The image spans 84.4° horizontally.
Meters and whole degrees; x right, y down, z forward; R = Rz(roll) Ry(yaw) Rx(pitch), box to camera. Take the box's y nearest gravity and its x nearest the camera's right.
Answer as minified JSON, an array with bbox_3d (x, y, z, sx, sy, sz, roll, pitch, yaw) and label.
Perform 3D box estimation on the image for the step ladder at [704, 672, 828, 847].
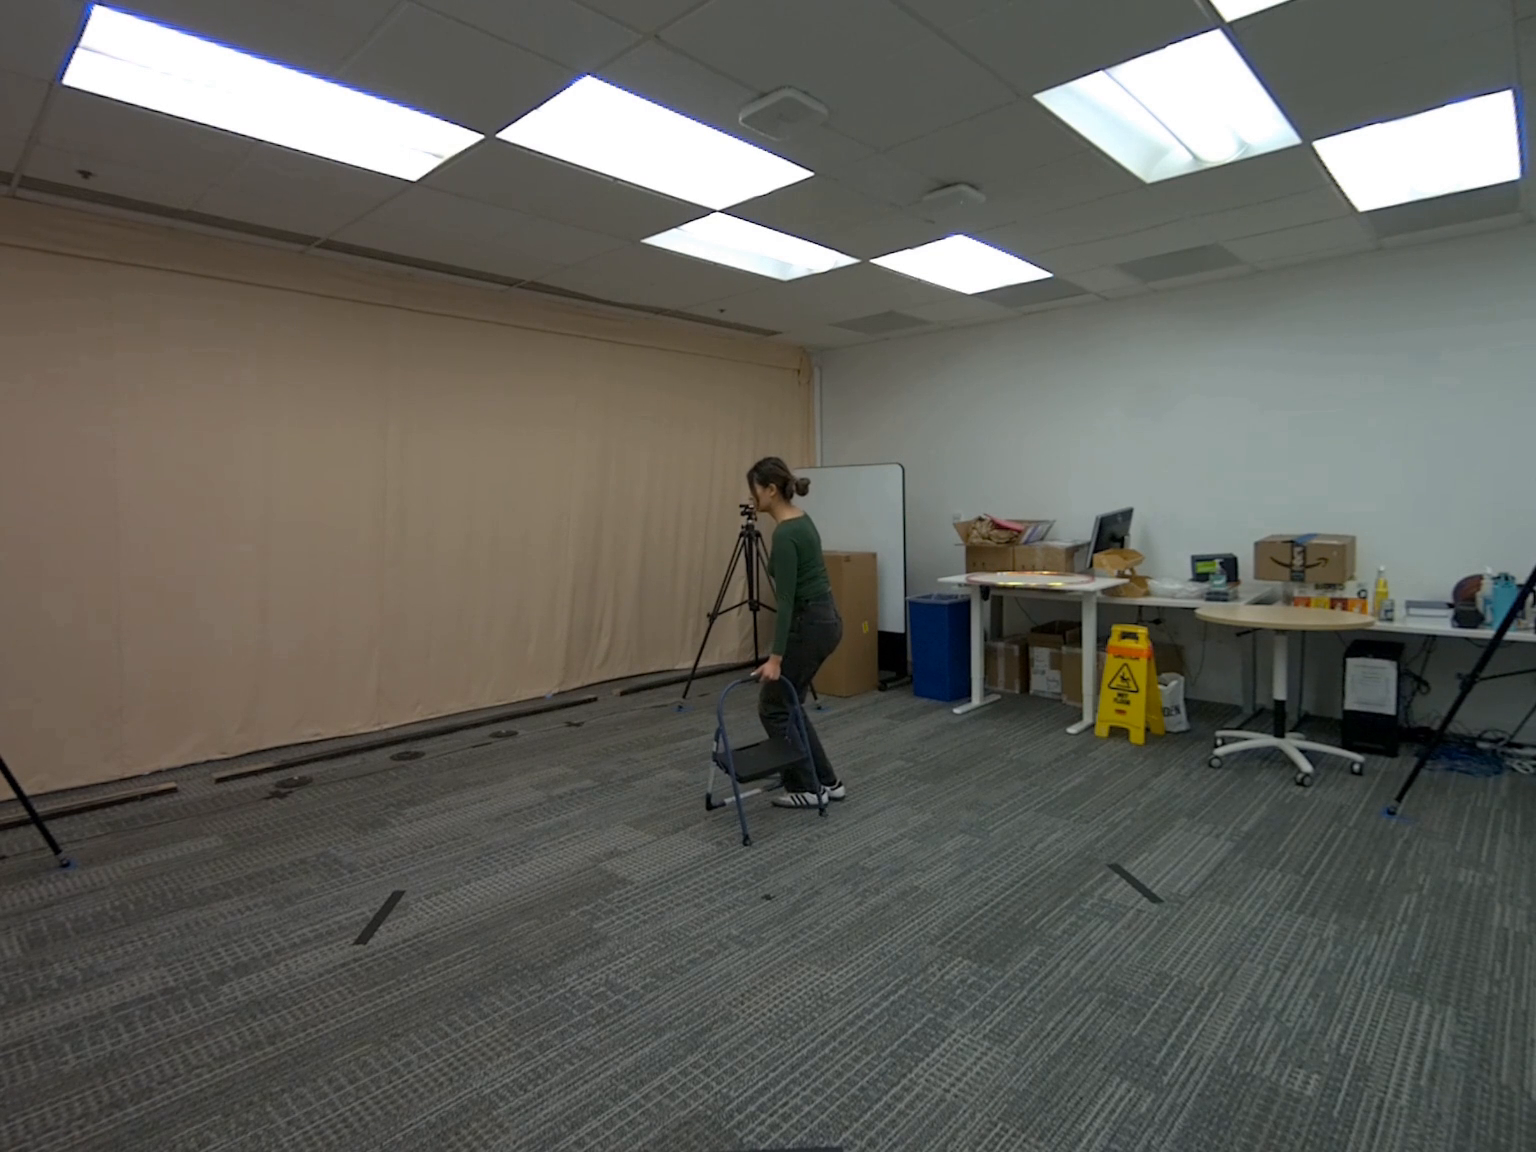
[{"bbox_3d":[-0.016,0.742,3.616,0.419,0.601,0.361,-9,14,-33],"label":"step ladder"}]
